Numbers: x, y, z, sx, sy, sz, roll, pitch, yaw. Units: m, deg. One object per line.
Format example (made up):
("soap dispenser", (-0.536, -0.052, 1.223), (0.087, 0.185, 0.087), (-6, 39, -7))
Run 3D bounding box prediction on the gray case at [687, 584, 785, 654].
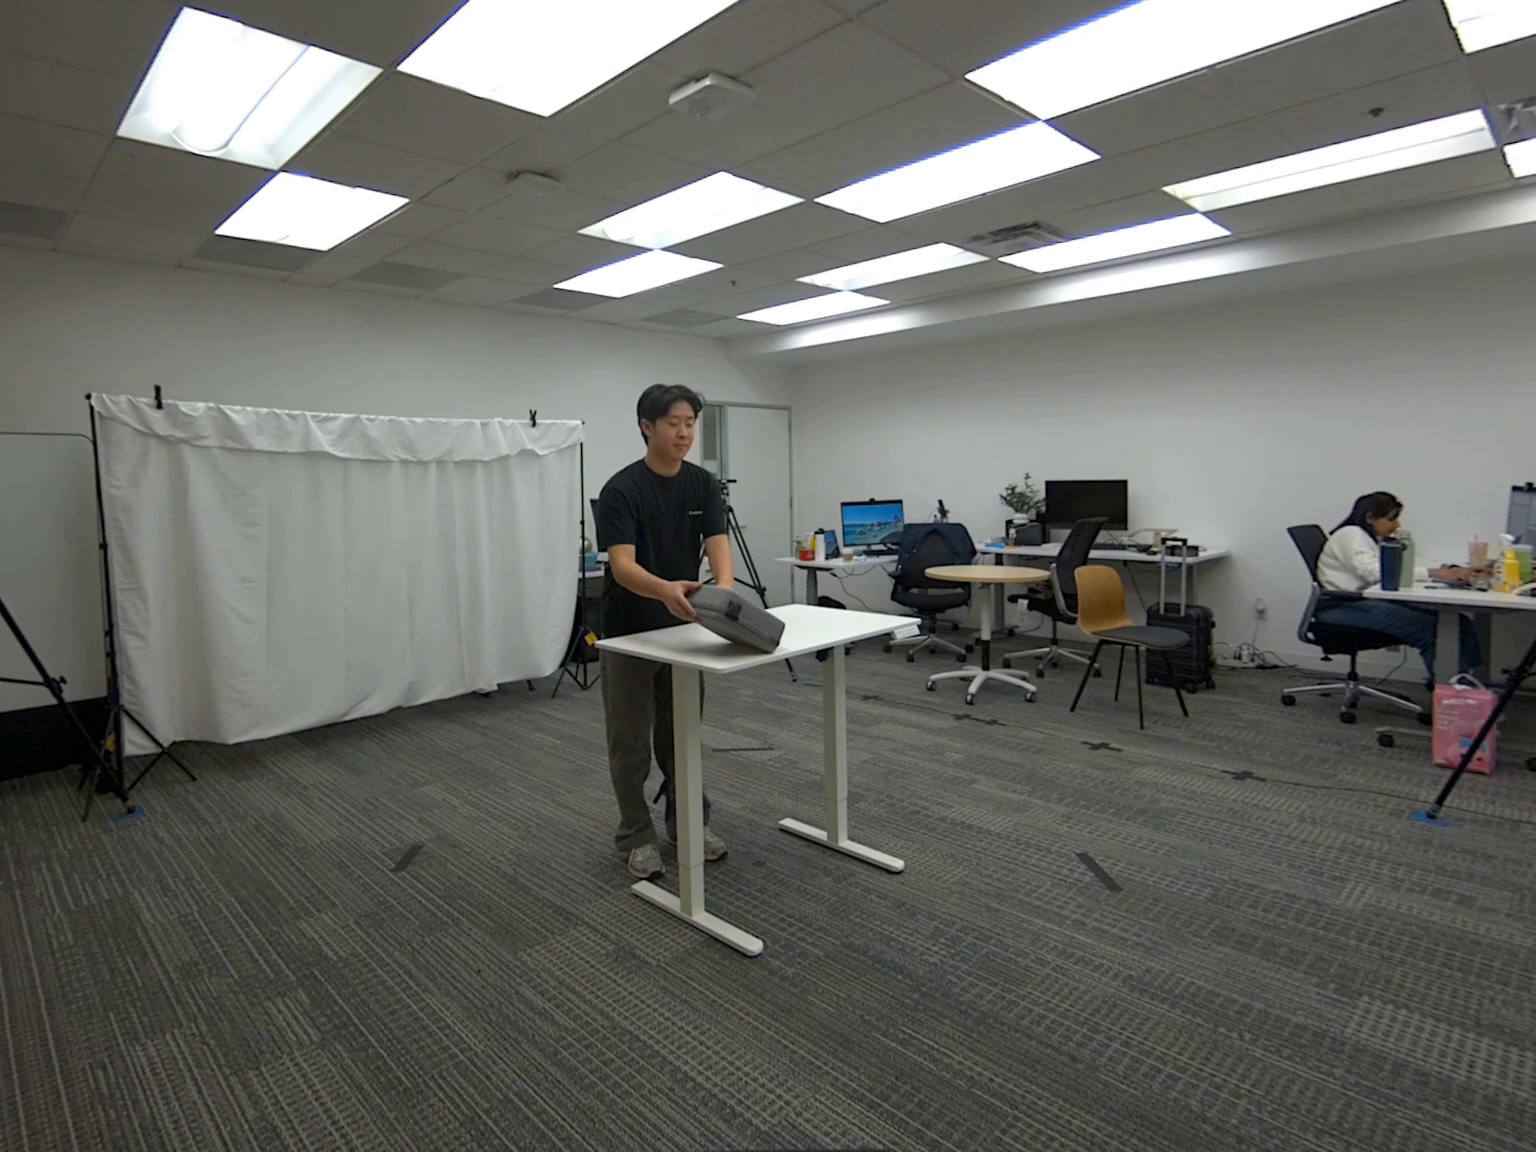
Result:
("gray case", (-0.102, 0.130, 2.579), (0.248, 0.105, 0.268), (33, -15, -31))
